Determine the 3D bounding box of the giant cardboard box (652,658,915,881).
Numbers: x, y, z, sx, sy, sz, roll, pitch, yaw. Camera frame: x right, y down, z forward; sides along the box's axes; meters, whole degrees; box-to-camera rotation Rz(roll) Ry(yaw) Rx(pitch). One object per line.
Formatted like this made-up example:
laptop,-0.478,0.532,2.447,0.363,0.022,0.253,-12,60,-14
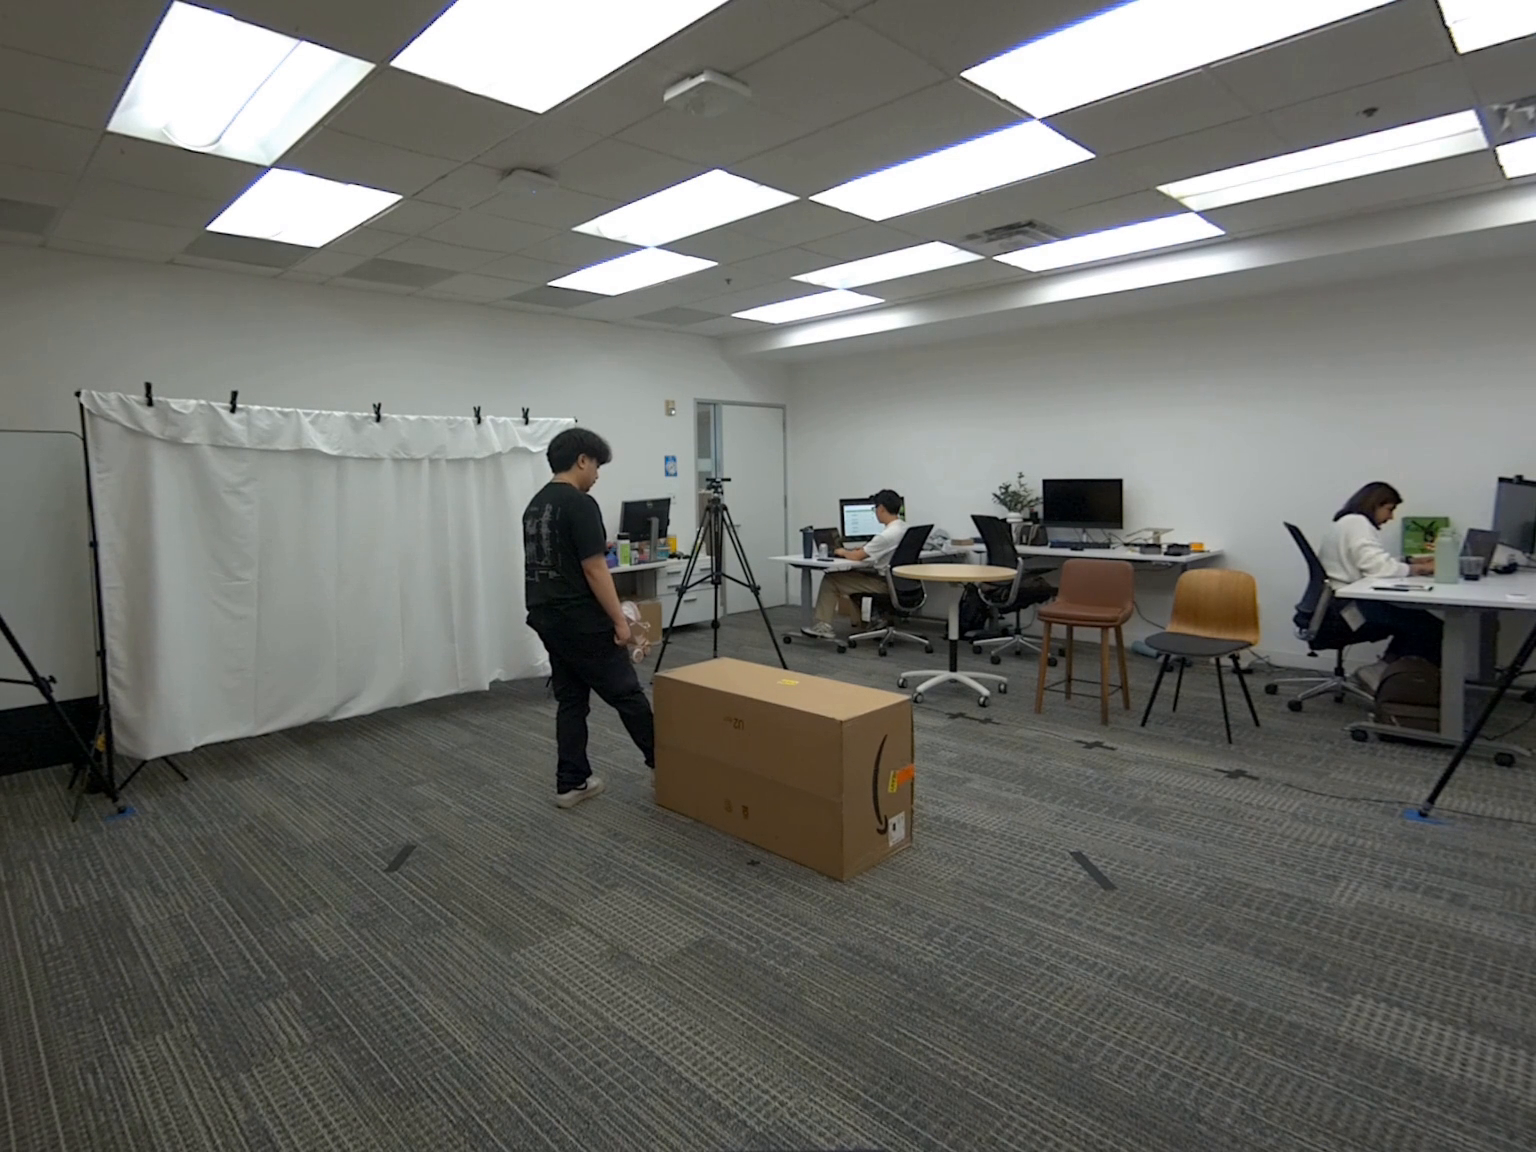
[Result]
giant cardboard box,0.037,0.718,3.428,1.059,0.582,0.435,5,7,44
